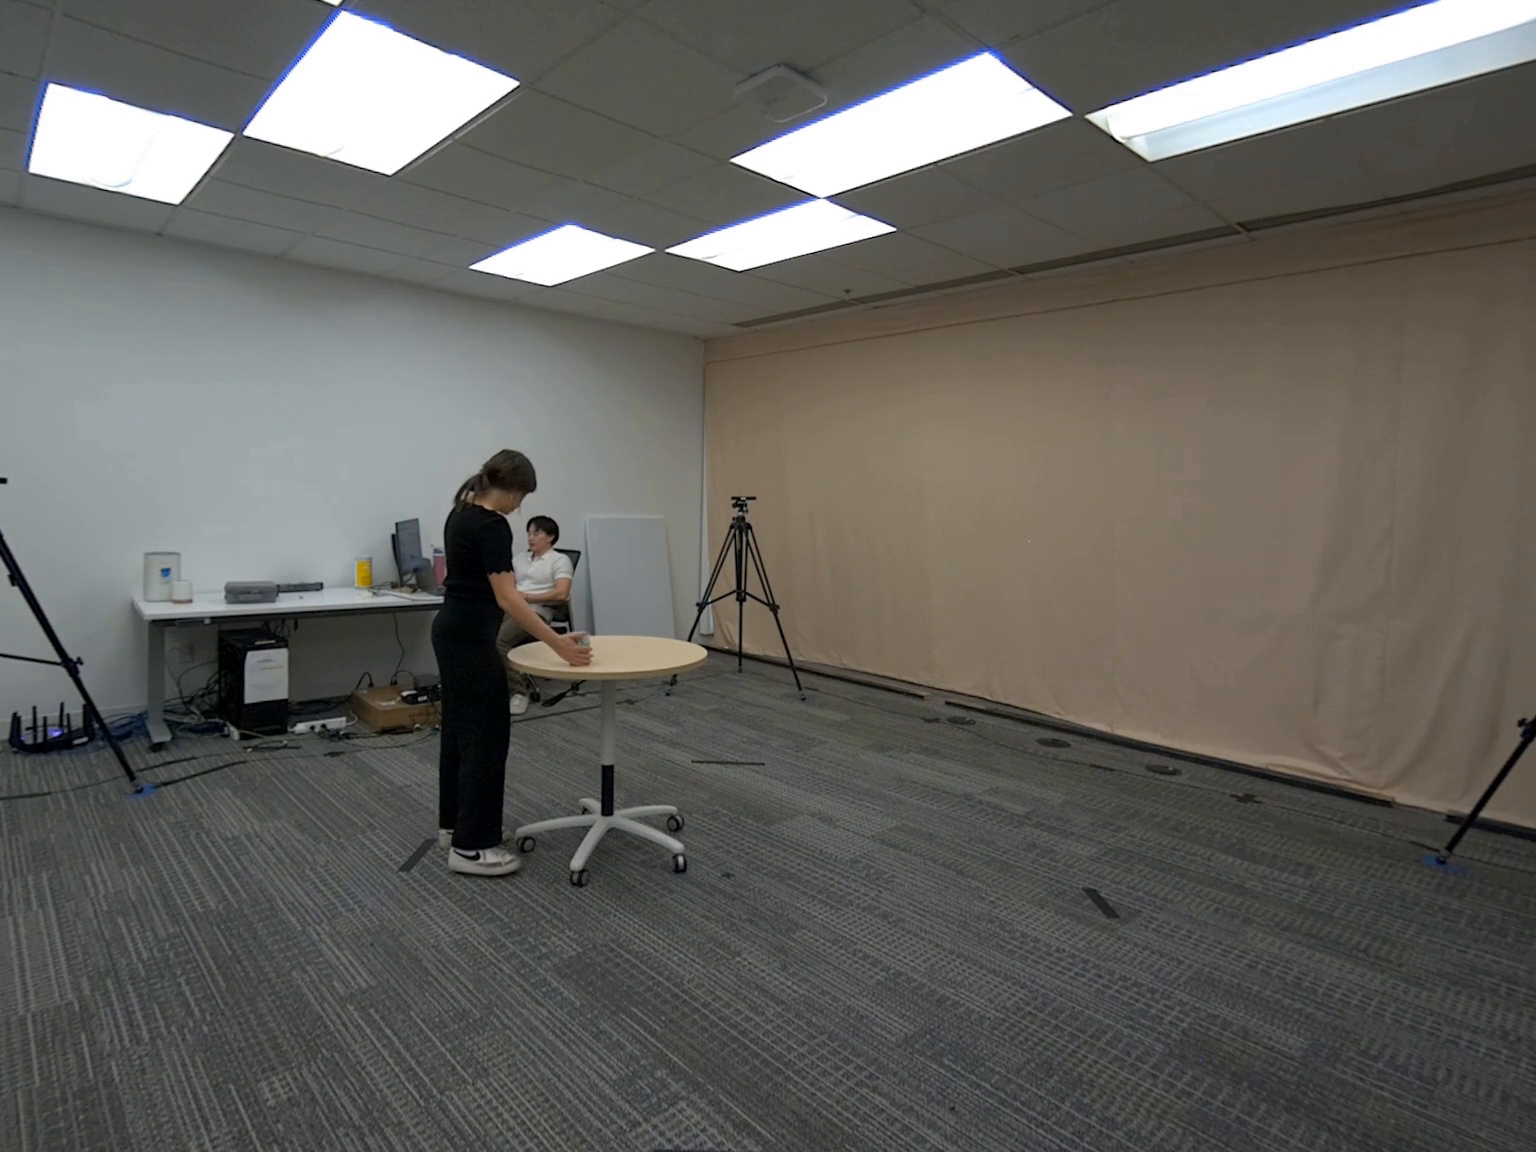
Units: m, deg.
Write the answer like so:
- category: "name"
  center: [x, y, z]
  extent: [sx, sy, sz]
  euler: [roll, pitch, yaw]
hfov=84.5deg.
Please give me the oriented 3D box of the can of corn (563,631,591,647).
- category: "can of corn"
  center: [-0.688, 0.262, 3.027]
  extent: [0.074, 0.110, 0.074]
  euler: [1, 6, -2]
